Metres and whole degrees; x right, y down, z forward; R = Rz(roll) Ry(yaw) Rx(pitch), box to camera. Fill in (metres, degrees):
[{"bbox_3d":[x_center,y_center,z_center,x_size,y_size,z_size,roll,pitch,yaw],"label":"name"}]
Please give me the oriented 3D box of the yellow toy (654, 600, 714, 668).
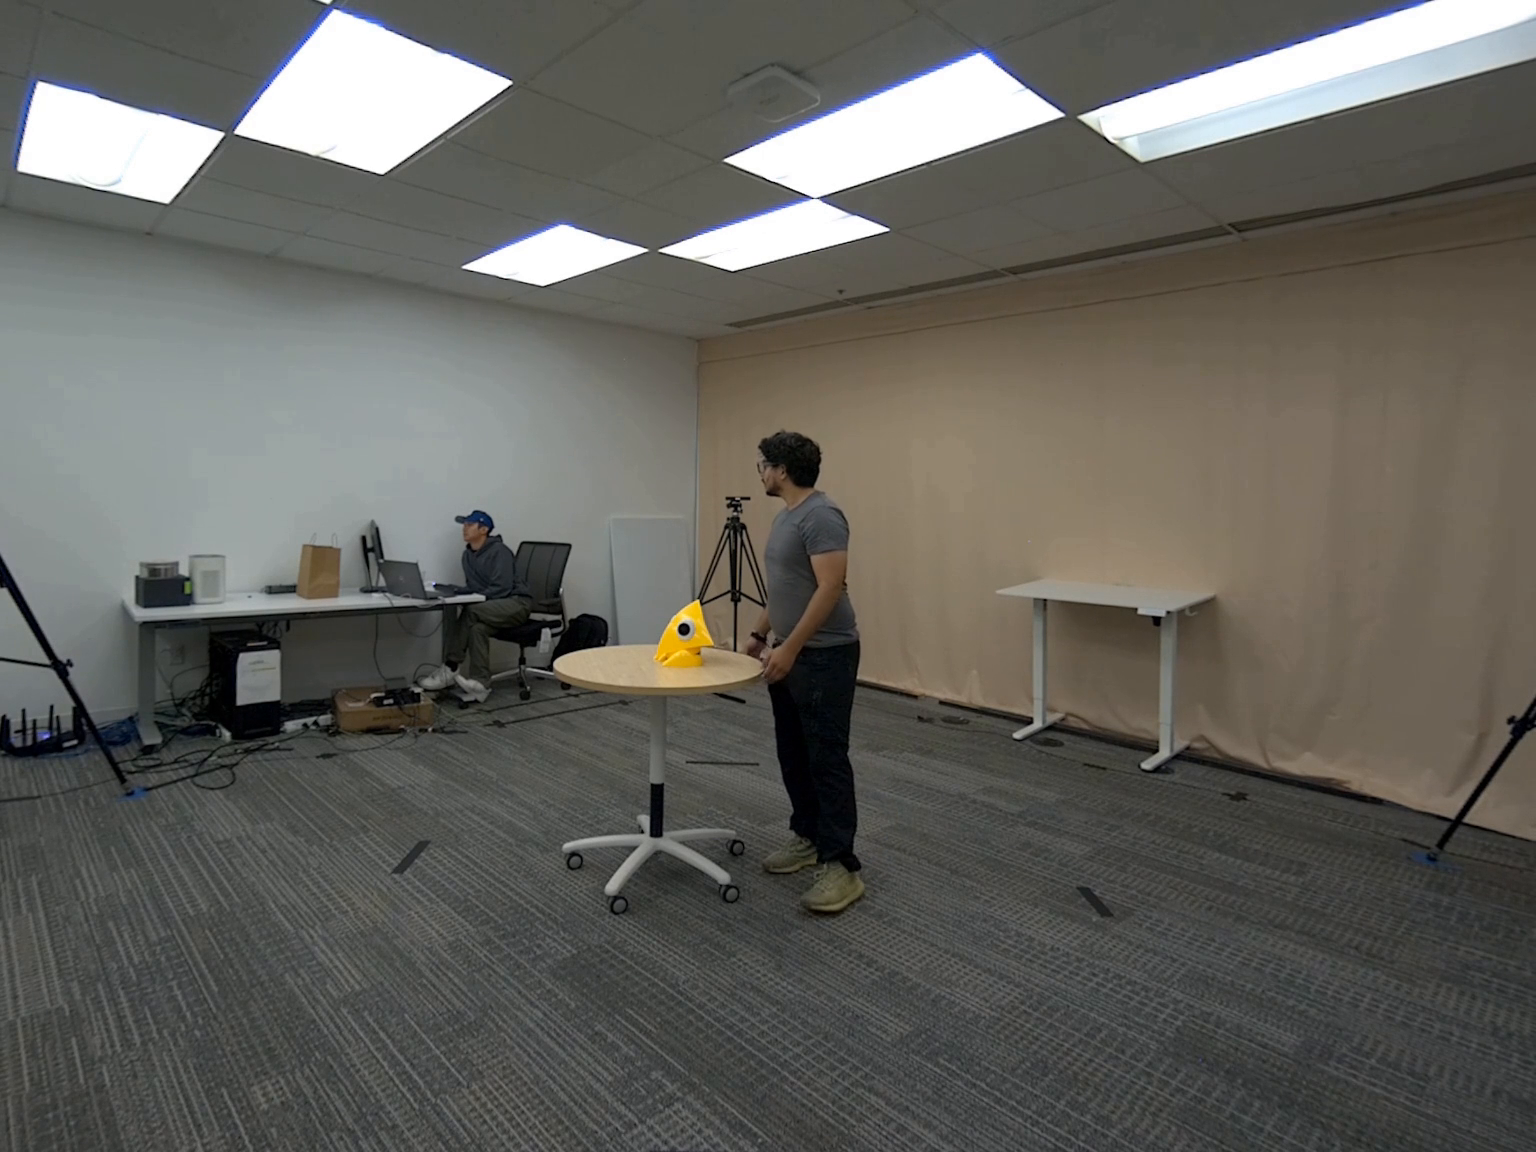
[{"bbox_3d":[-0.318,0.205,3.117,0.190,0.230,0.208,1,4,-21],"label":"yellow toy"}]
